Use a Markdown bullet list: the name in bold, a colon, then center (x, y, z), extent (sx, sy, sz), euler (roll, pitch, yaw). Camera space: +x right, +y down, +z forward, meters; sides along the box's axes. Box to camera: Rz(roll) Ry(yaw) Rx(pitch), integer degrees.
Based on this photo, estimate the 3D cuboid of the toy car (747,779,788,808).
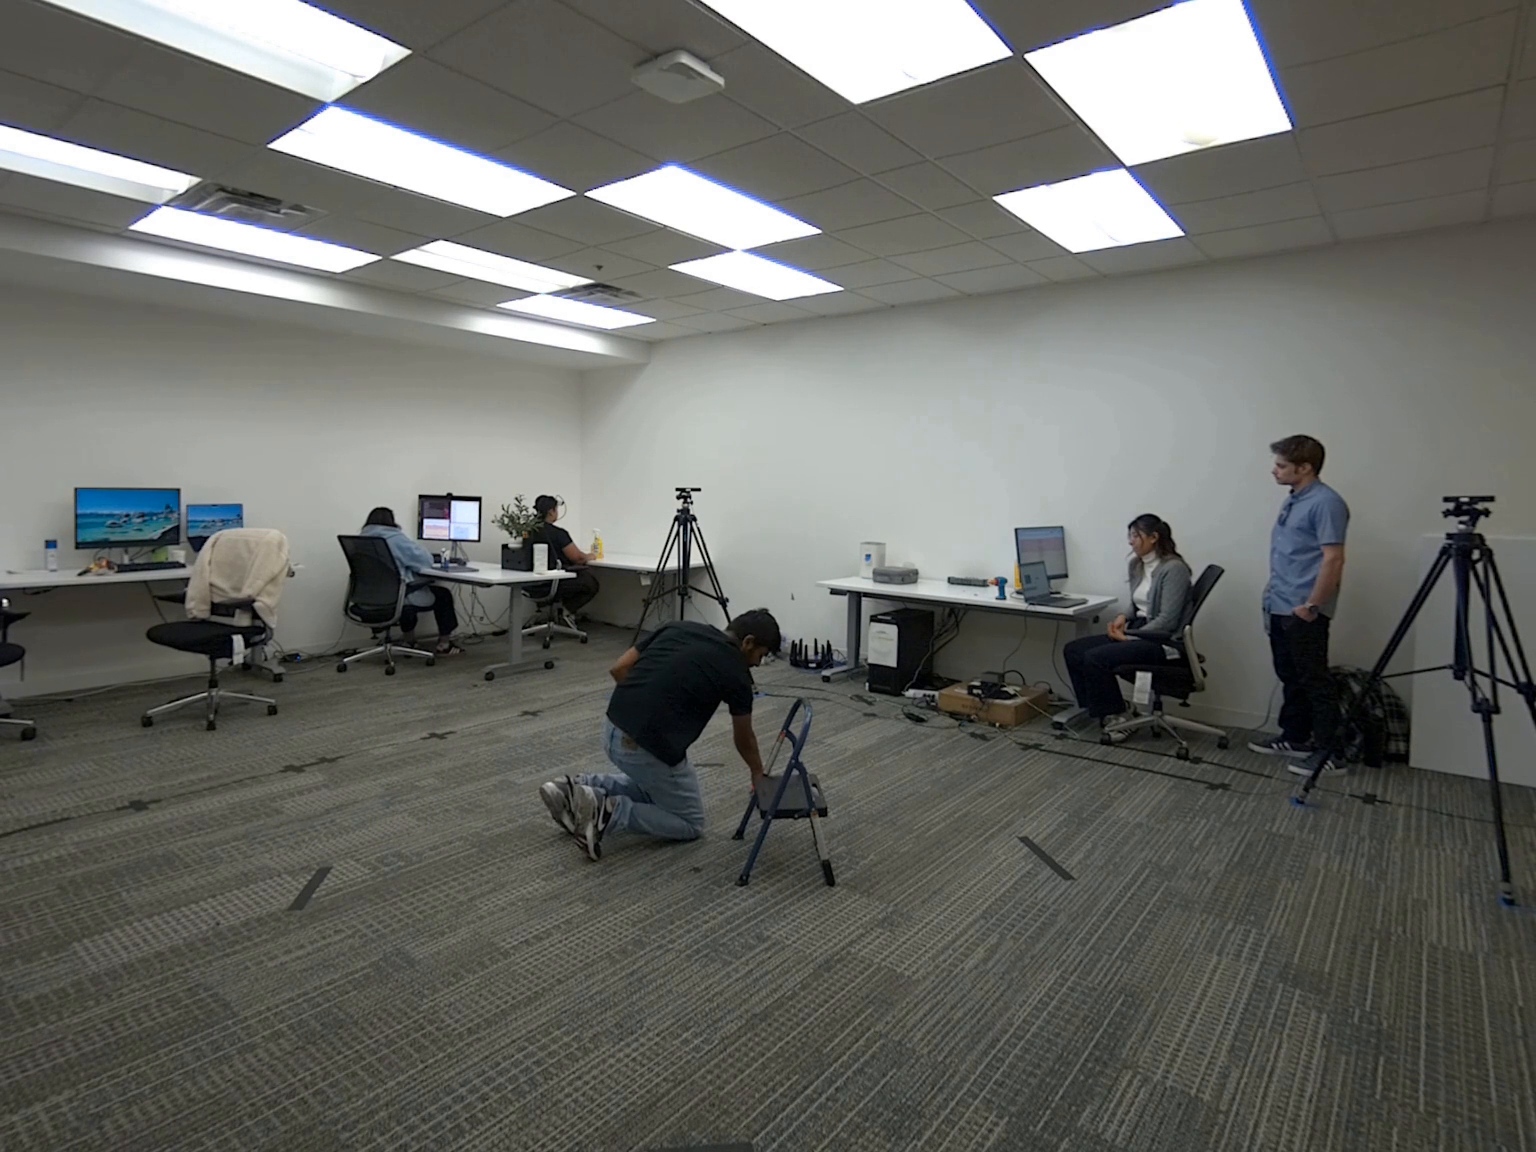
- **toy car**: center (-0.006, 0.971, 3.775), extent (0.129, 0.084, 0.255), euler (1, -7, -11)
